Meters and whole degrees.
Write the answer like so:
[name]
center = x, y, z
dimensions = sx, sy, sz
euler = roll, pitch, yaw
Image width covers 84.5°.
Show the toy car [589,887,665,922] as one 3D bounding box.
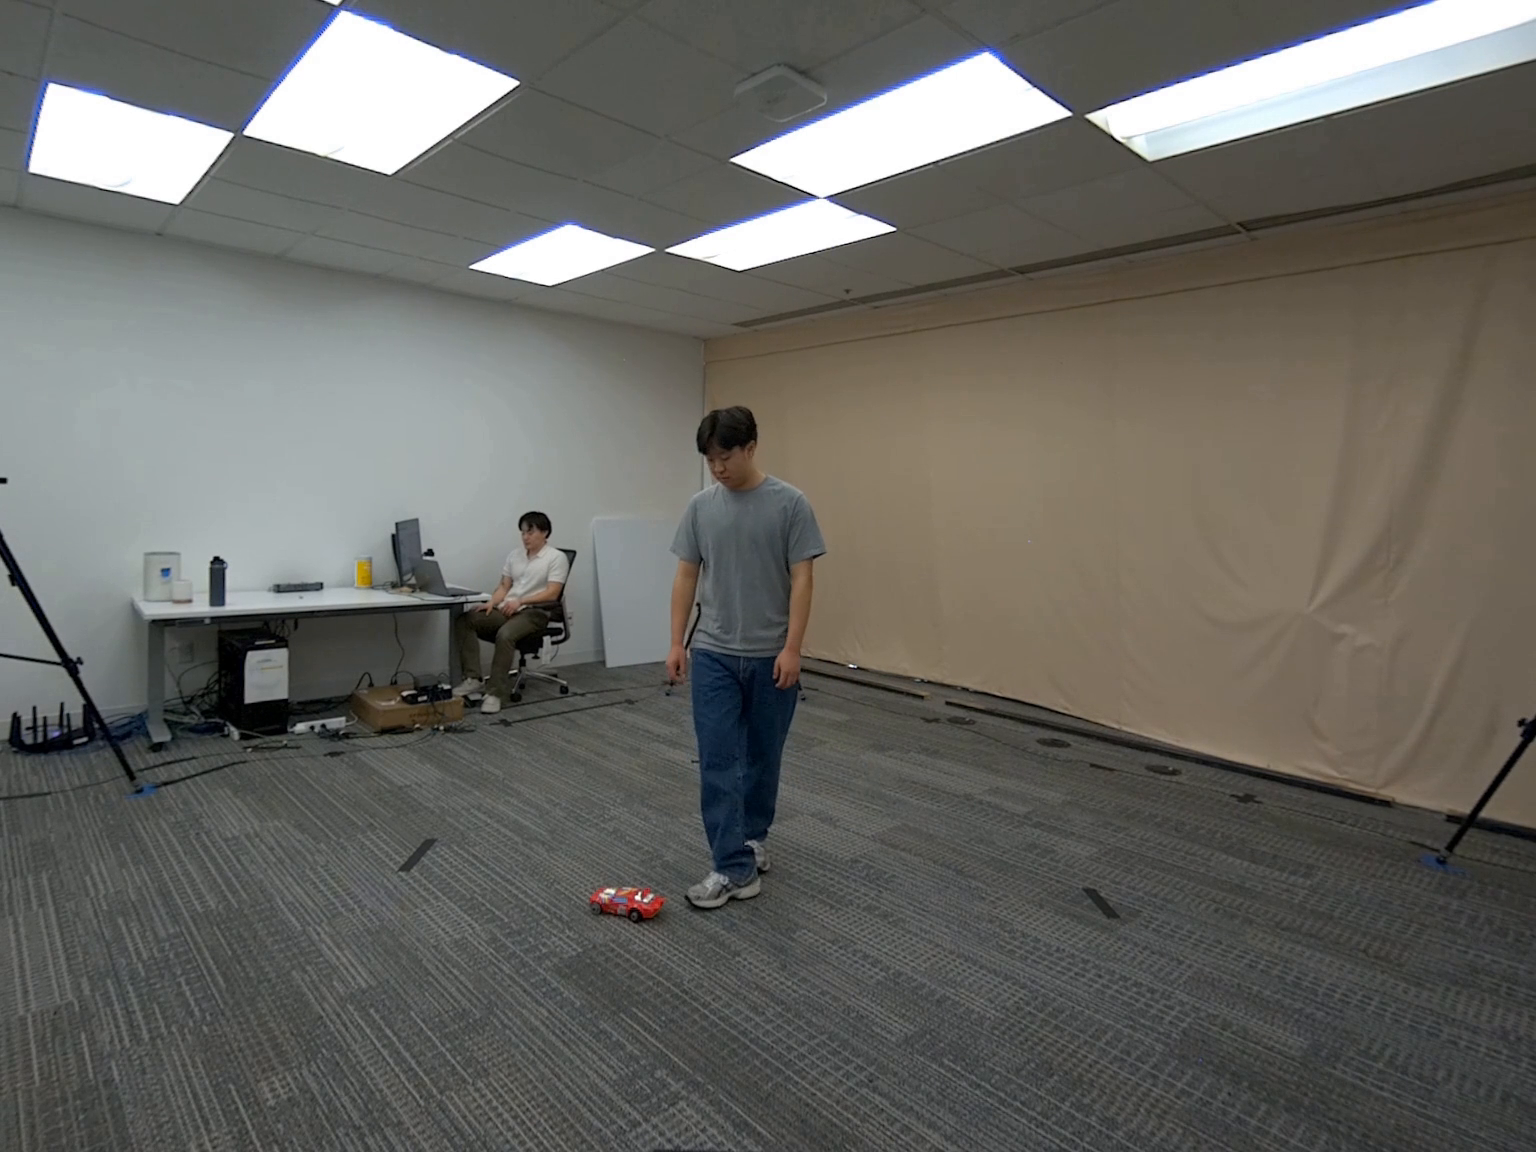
[toy car]
center = -0.474, 1.095, 2.803
dimensions = 0.258, 0.083, 0.129
euler = -9, 2, 18
